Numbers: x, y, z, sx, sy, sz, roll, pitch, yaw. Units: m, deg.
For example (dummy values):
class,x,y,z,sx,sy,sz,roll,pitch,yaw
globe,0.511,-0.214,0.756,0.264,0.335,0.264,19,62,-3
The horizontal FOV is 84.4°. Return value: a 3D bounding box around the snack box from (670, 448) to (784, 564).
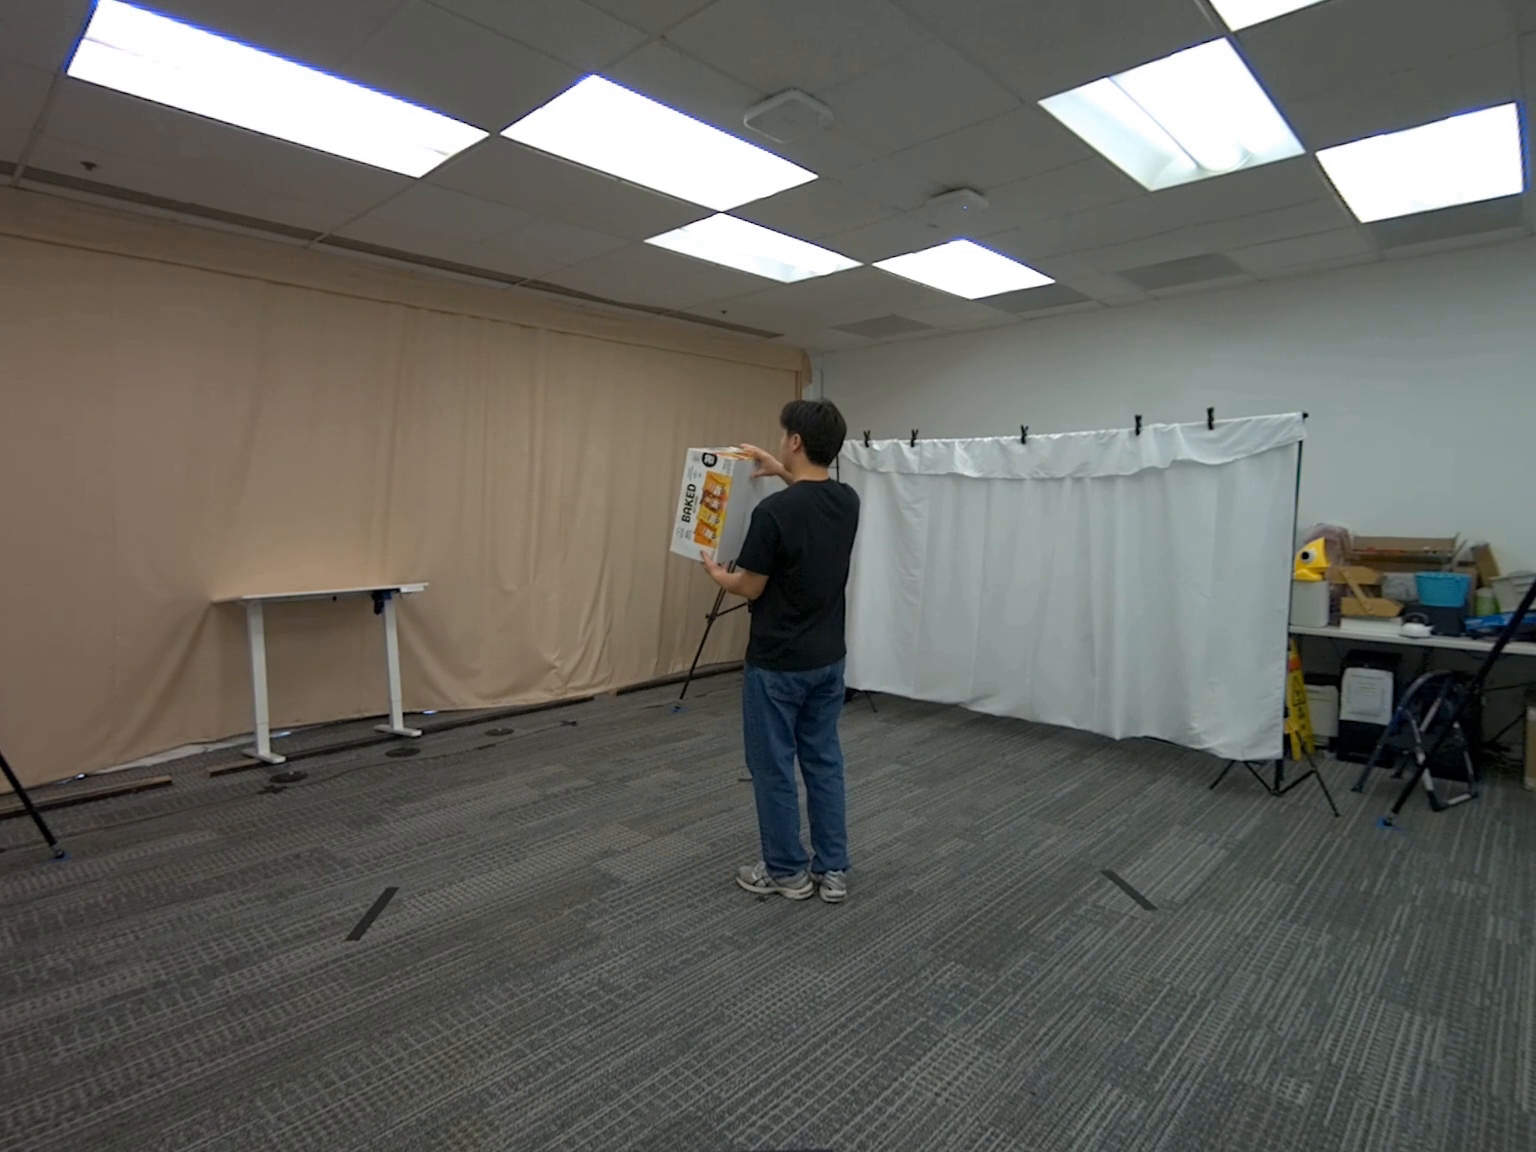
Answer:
class,x,y,z,sx,sy,sz,roll,pitch,yaw
snack box,-0.170,-0.282,3.283,0.211,0.403,0.333,16,14,23
